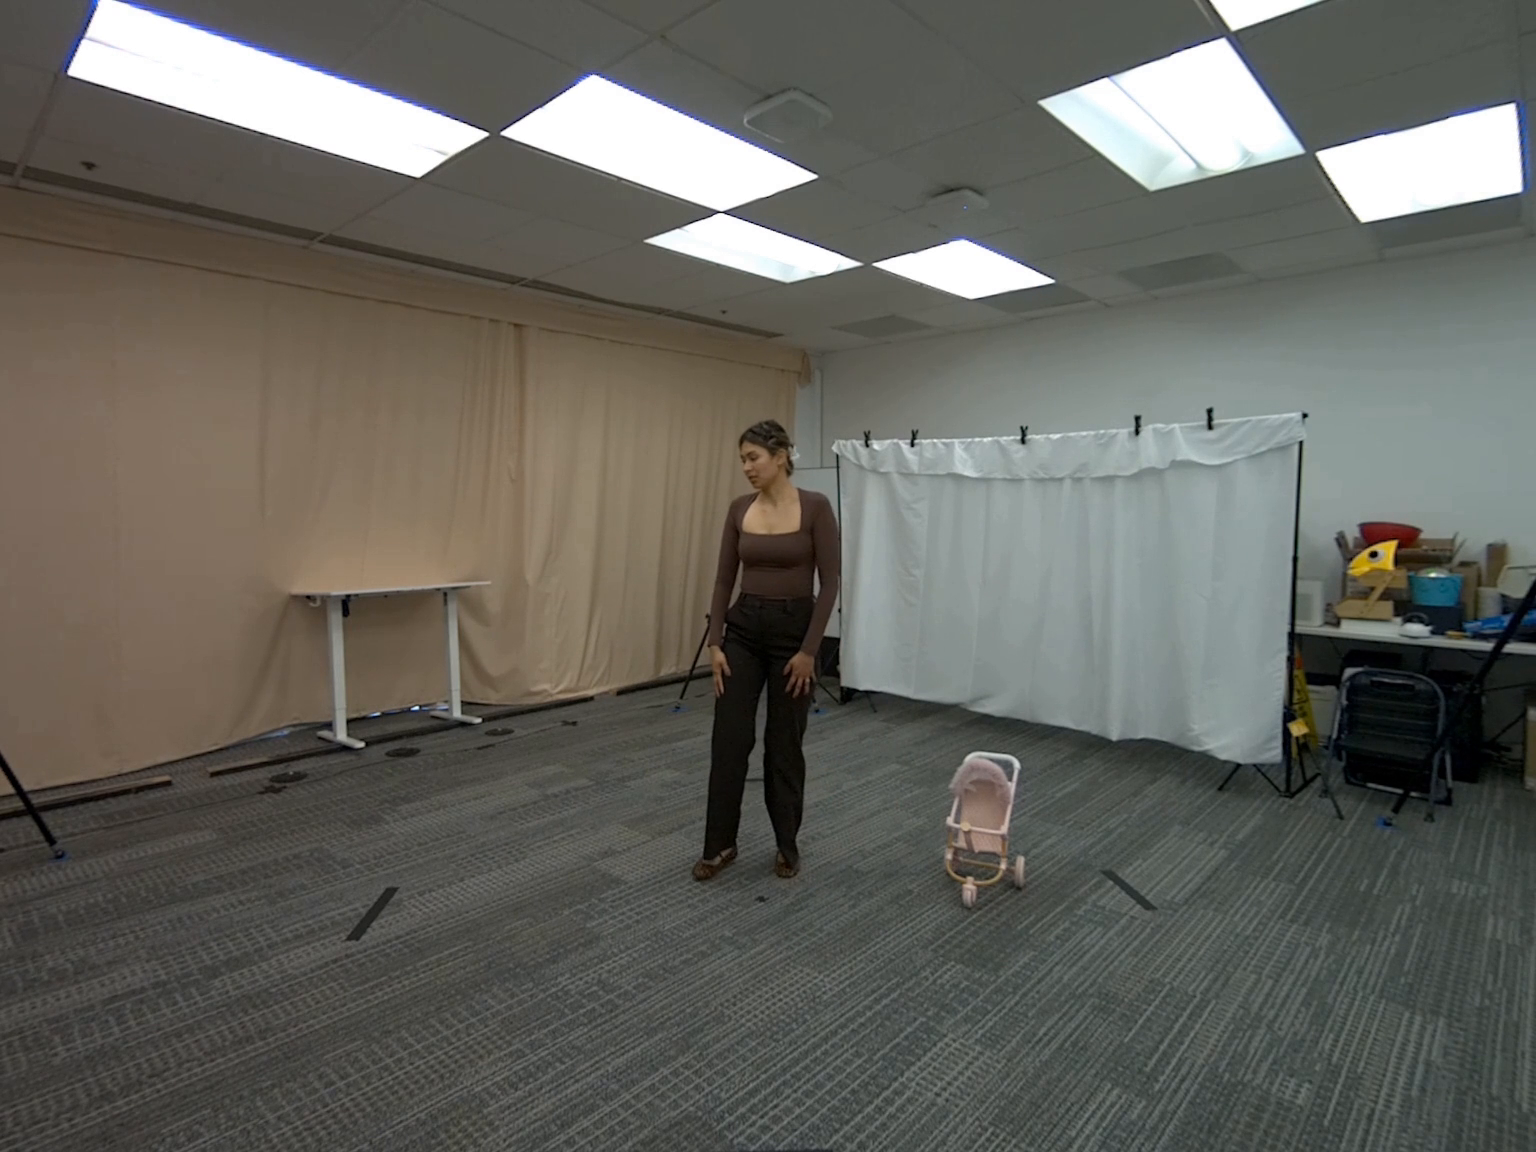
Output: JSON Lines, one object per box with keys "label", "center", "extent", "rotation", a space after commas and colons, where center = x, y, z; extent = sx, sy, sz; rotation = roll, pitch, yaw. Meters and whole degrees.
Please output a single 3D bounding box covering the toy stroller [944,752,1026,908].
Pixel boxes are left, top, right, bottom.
{"label": "toy stroller", "center": [0.777, 0.908, 3.072], "extent": [0.289, 0.538, 0.330], "rotation": [0, -13, 31]}
